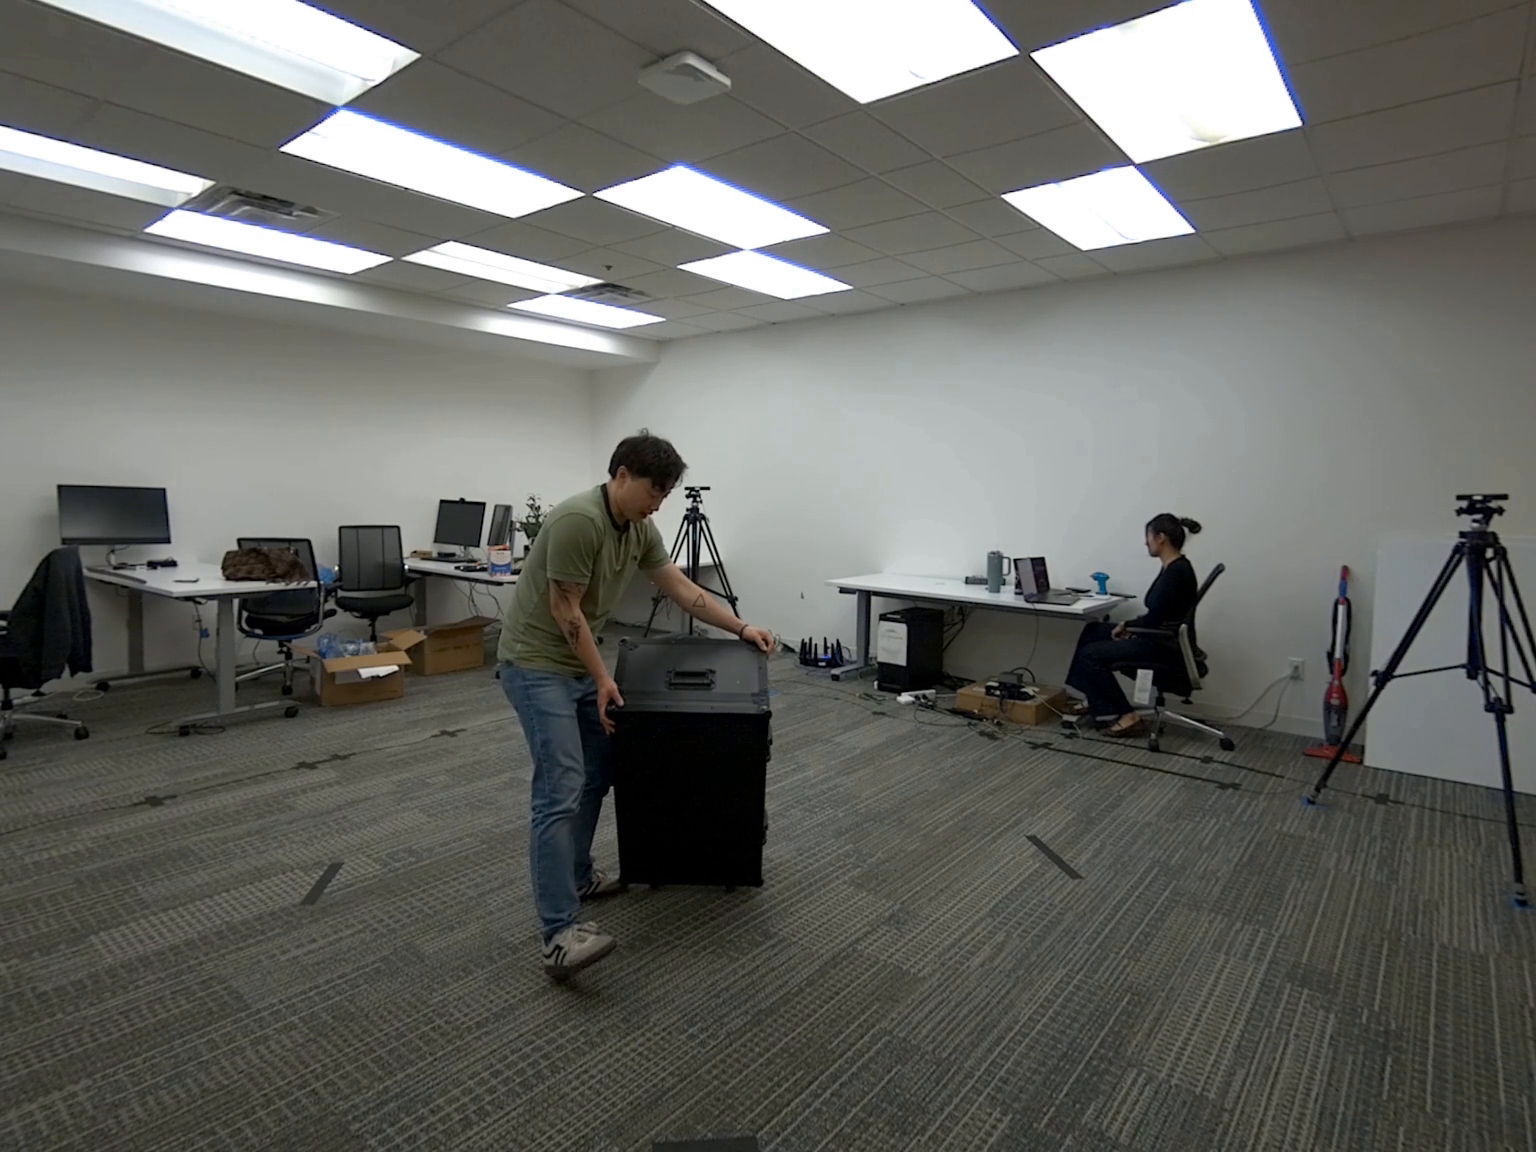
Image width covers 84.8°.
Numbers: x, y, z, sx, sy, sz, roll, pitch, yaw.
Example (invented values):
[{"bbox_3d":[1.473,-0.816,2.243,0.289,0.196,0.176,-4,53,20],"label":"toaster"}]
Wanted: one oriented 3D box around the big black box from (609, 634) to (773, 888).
[{"bbox_3d":[-0.267,0.656,2.870,0.522,0.840,0.406,1,30,0],"label":"big black box"}]
